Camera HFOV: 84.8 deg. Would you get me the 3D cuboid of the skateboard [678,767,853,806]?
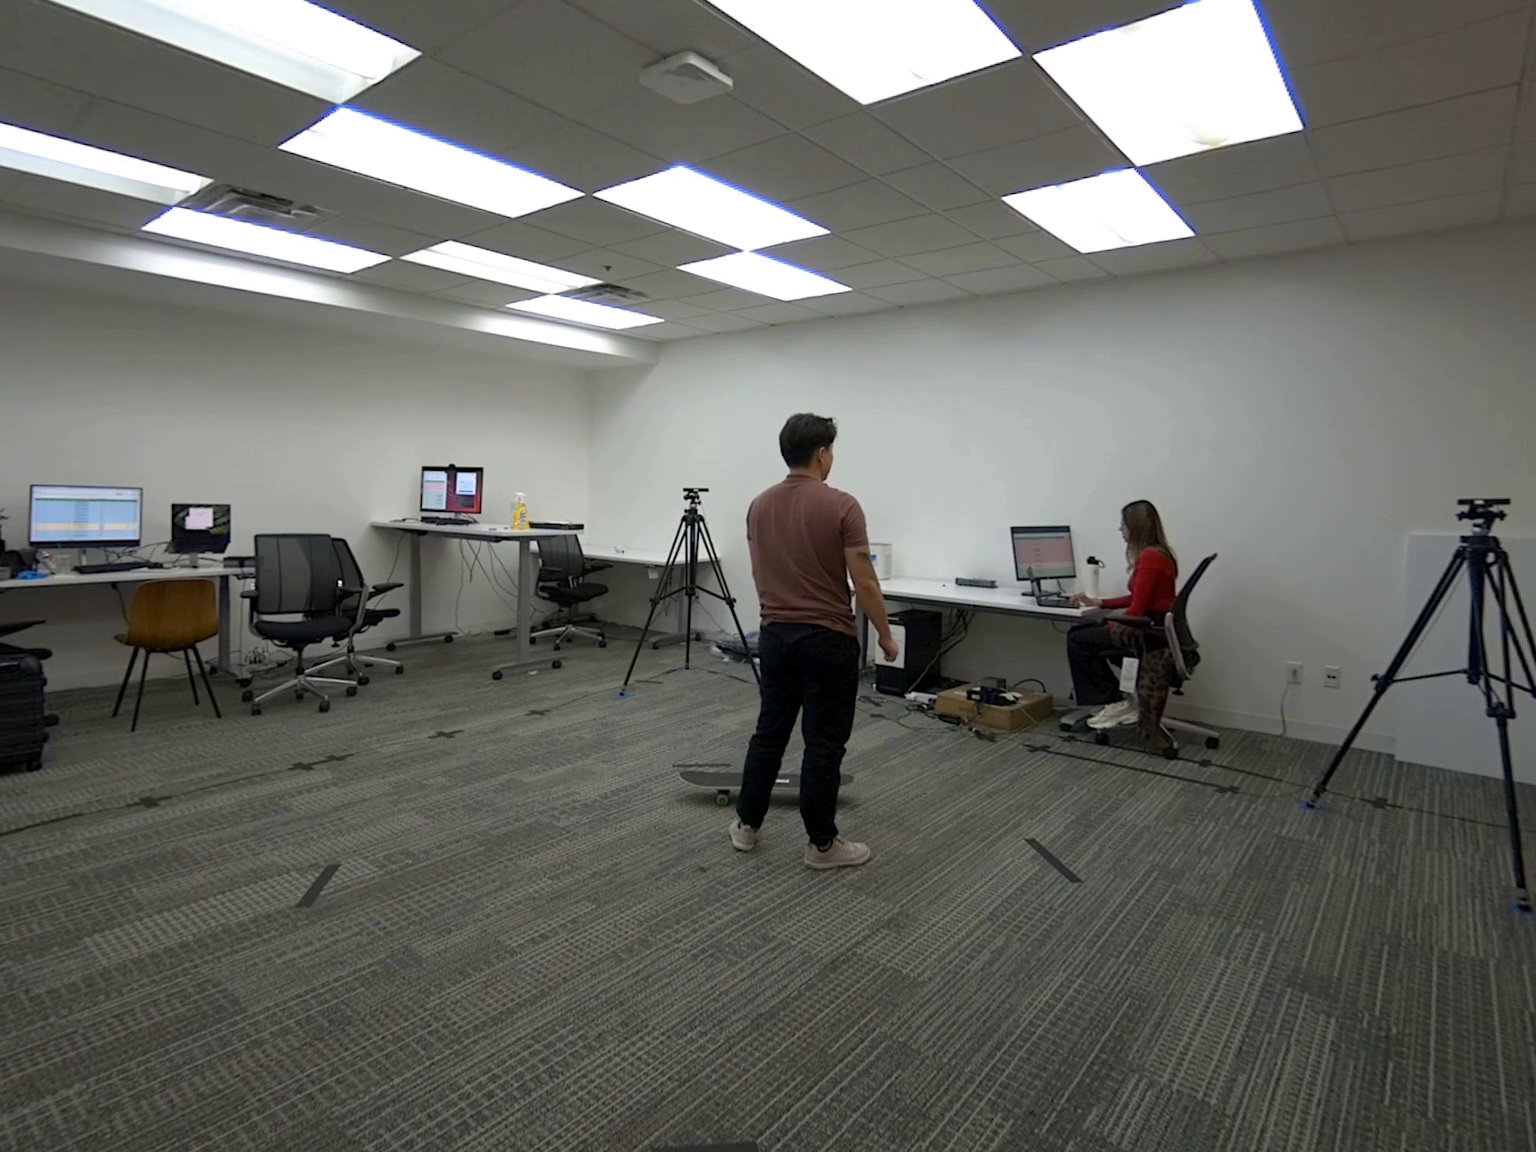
[{"bbox_3d":[-0.022,0.947,3.819,0.784,0.110,0.194,2,6,-1],"label":"skateboard"}]
